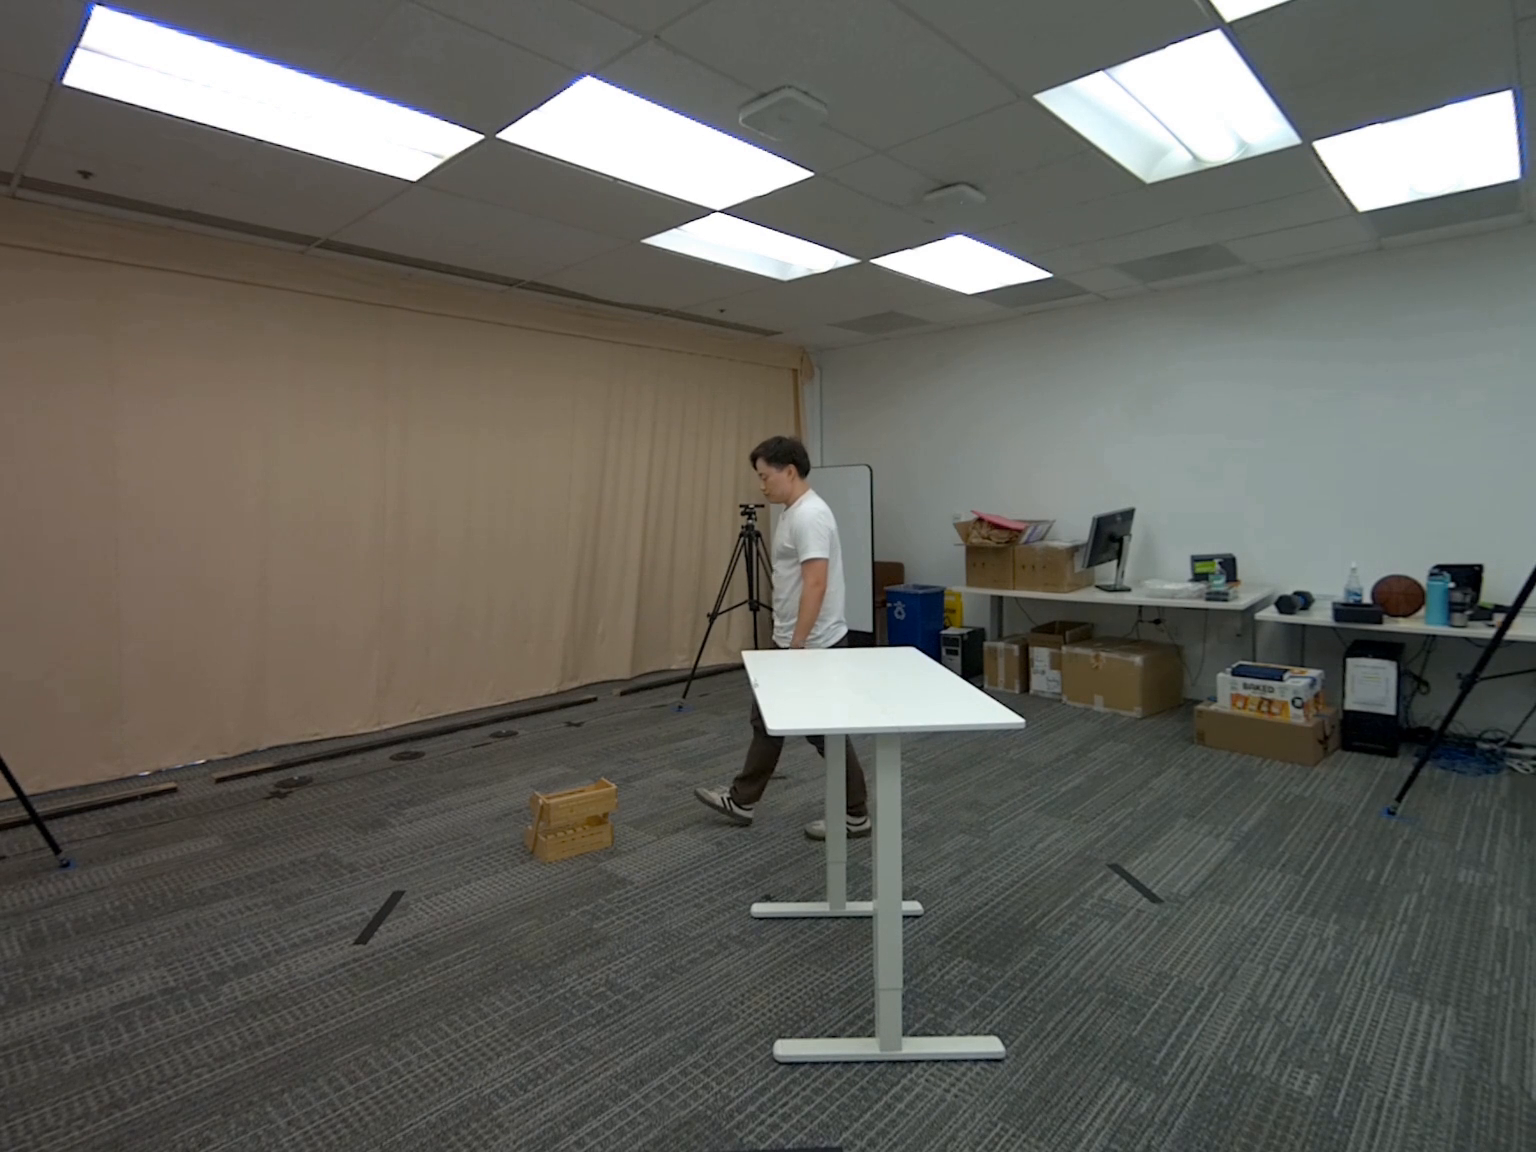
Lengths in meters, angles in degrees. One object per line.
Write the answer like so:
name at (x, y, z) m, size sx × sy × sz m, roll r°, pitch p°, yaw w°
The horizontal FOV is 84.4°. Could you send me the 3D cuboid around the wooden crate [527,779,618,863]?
wooden crate at (-0.825, 0.988, 3.474) m, size 0.315 × 0.272 × 0.311 m, roll -4°, pitch 6°, yaw -34°
